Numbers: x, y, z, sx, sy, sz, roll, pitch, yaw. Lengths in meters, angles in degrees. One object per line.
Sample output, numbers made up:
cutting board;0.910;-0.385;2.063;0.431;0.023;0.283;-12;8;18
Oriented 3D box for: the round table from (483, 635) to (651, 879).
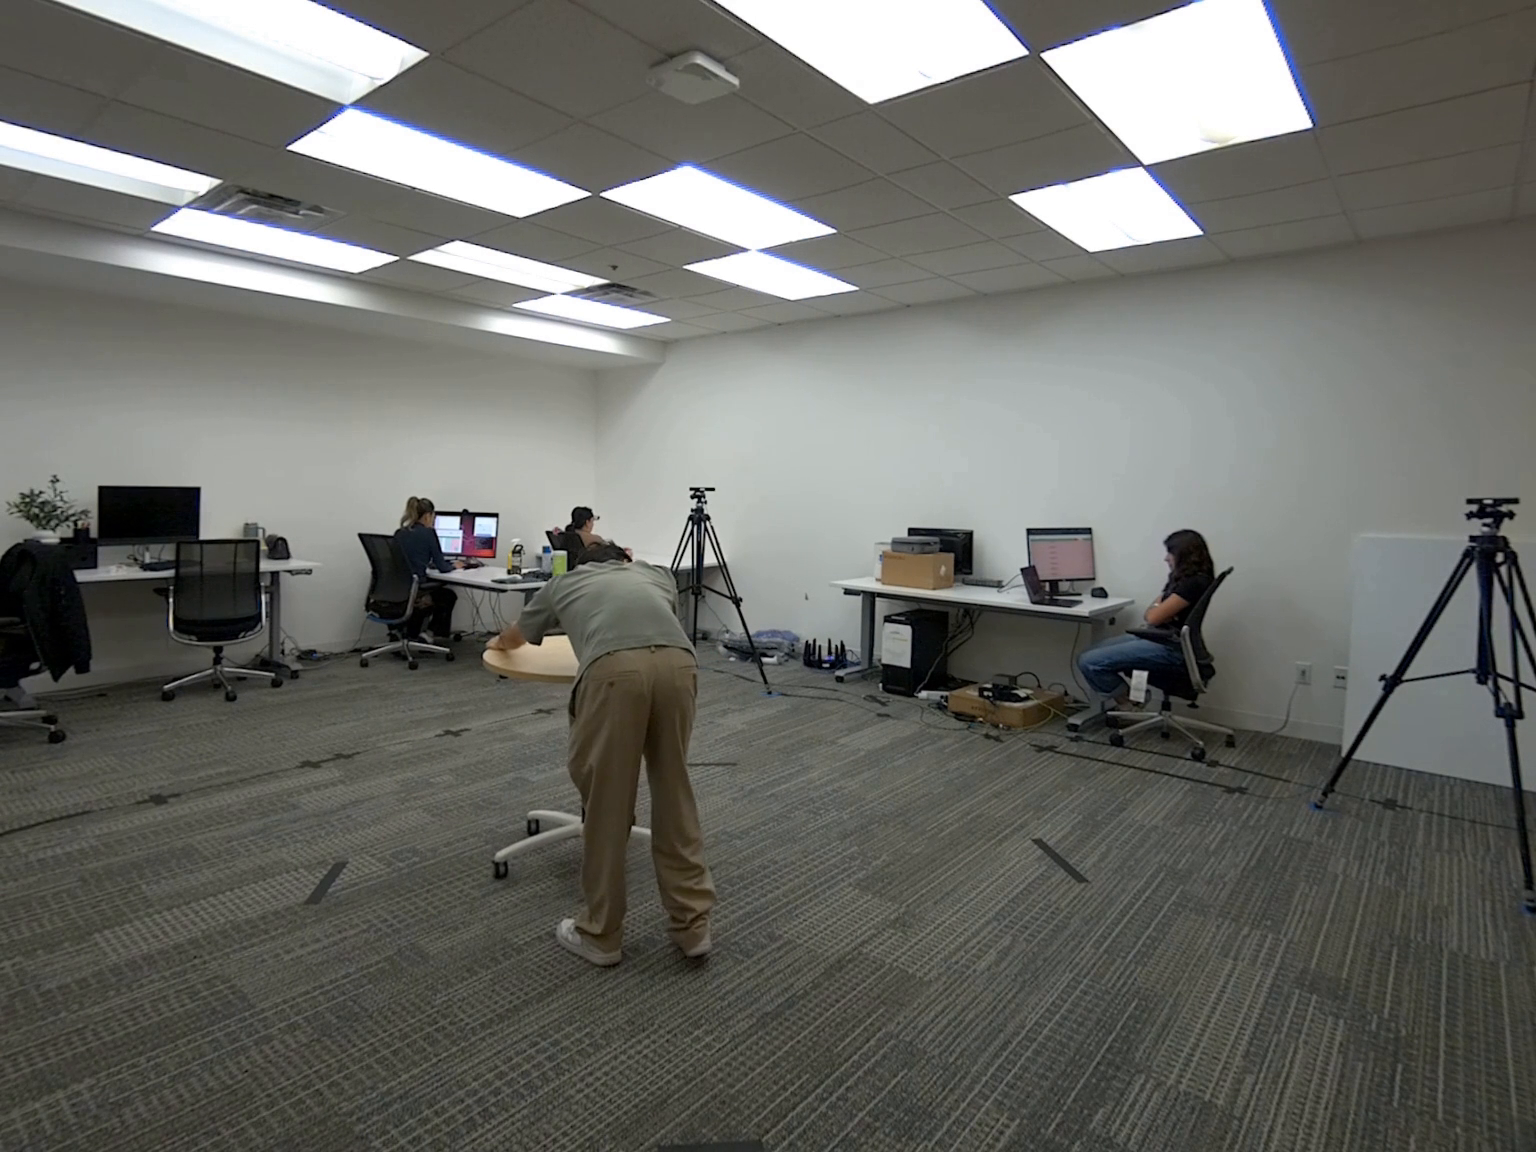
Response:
round table;-0.694;0.666;3.155;0.784;0.784;0.789;2;4;-2
